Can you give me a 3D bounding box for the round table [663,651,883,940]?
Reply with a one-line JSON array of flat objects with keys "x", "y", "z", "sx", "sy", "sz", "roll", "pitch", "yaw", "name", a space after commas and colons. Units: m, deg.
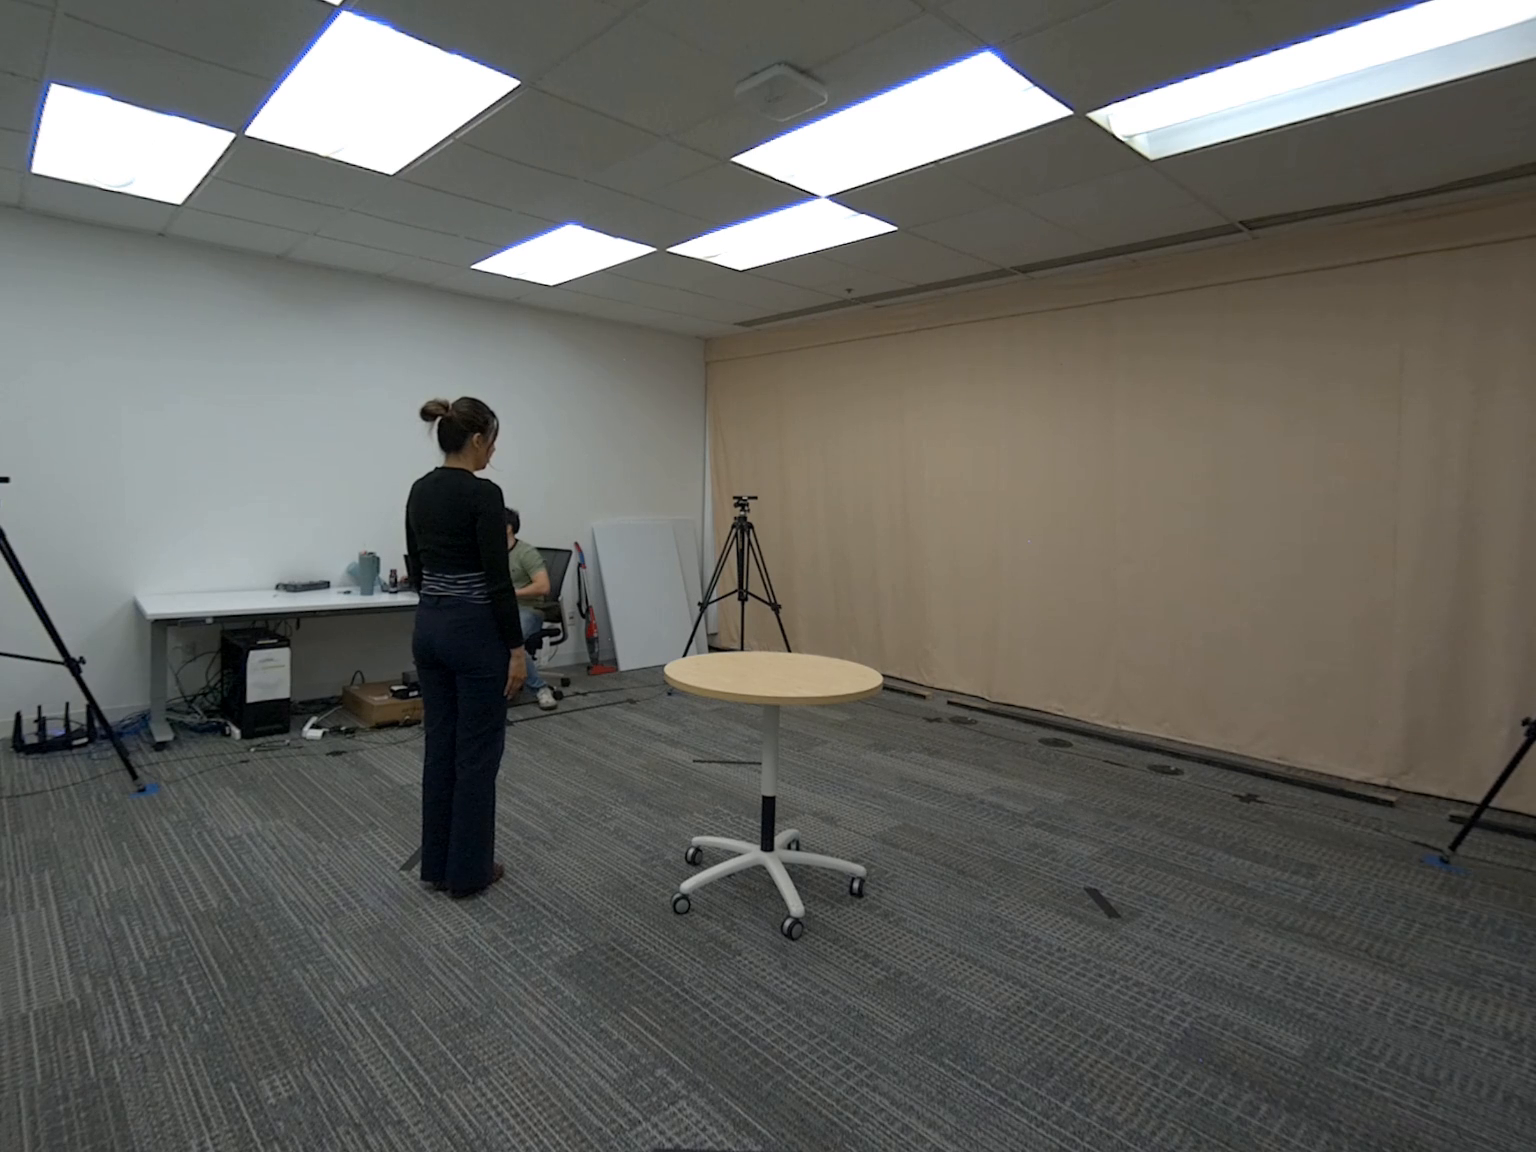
[{"x": -0.008, "y": 0.729, "z": 2.983, "sx": 0.763, "sy": 0.792, "sz": 0.766, "roll": 2, "pitch": 4, "yaw": -1, "name": "round table"}]
